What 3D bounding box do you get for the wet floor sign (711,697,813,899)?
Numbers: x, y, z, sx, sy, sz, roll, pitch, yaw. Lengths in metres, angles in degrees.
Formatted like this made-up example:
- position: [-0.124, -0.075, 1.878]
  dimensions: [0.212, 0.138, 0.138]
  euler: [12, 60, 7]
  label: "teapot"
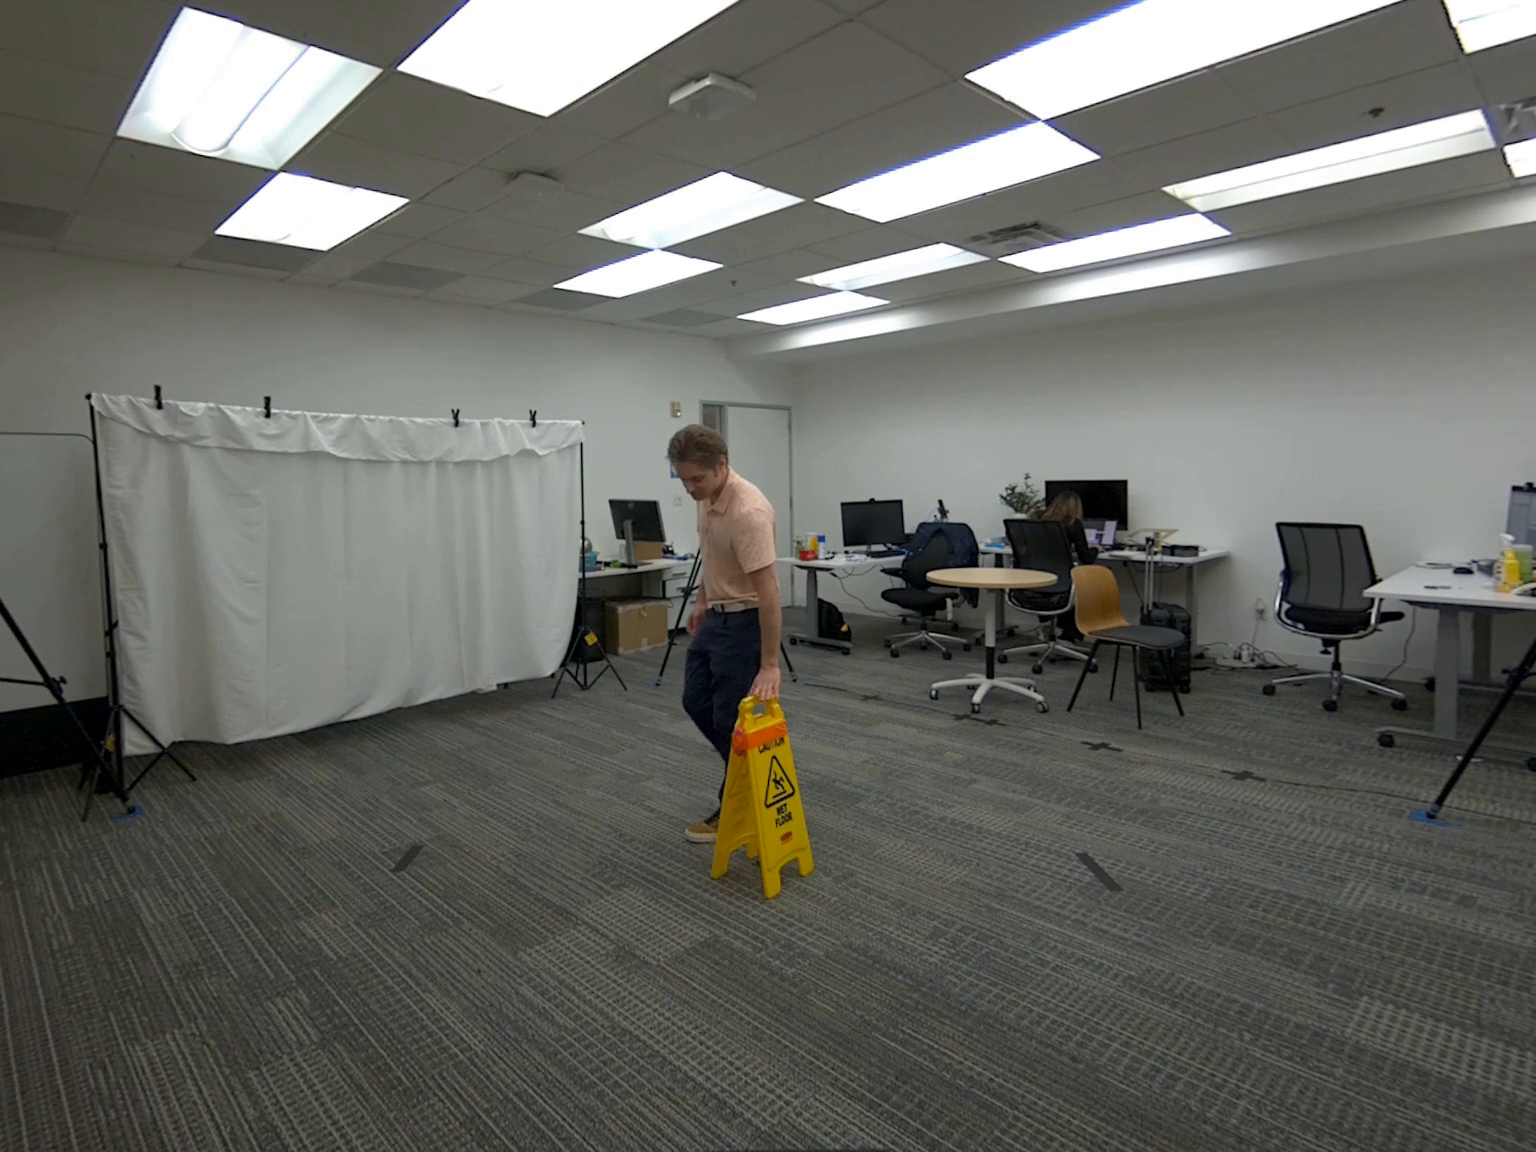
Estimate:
- position: [-0.028, 0.735, 3.009]
  dimensions: [0.298, 0.644, 0.275]
  euler: [2, 5, 38]
  label: "wet floor sign"
